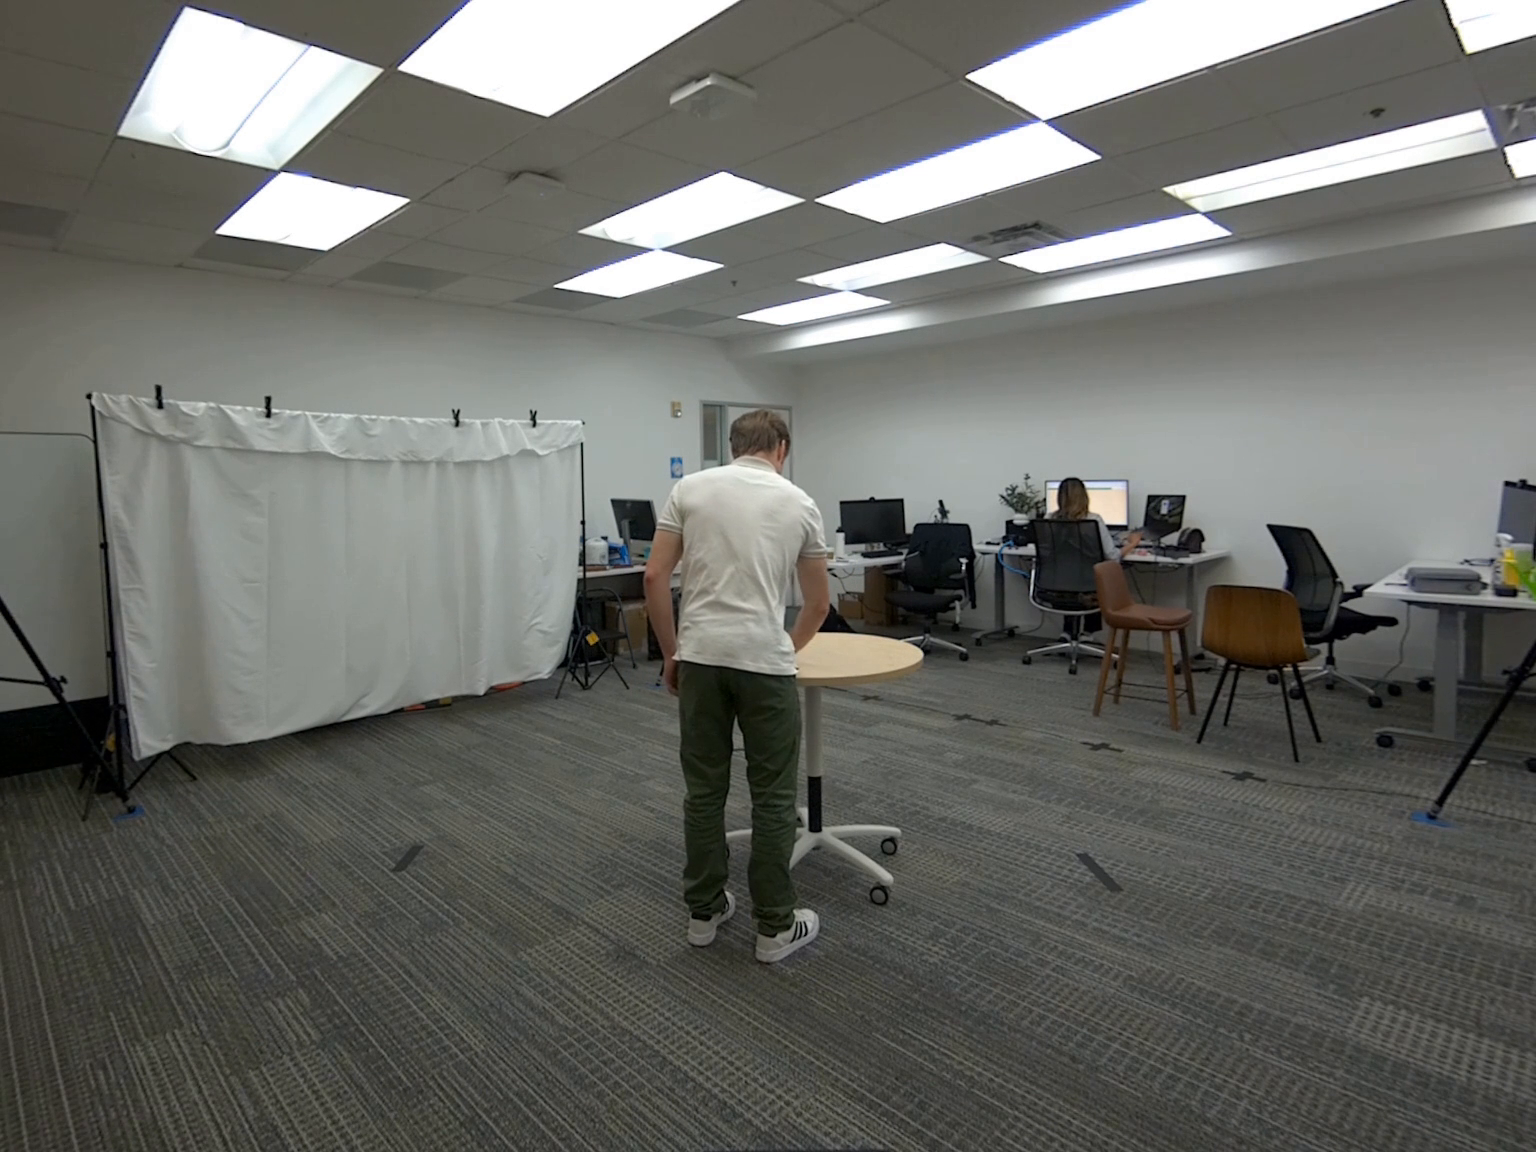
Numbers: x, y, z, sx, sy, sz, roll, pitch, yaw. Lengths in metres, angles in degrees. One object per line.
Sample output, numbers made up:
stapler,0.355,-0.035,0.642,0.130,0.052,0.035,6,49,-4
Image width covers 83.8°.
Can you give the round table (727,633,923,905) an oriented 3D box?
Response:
round table,0.182,0.656,3.047,0.784,0.783,0.789,-2,5,-2
